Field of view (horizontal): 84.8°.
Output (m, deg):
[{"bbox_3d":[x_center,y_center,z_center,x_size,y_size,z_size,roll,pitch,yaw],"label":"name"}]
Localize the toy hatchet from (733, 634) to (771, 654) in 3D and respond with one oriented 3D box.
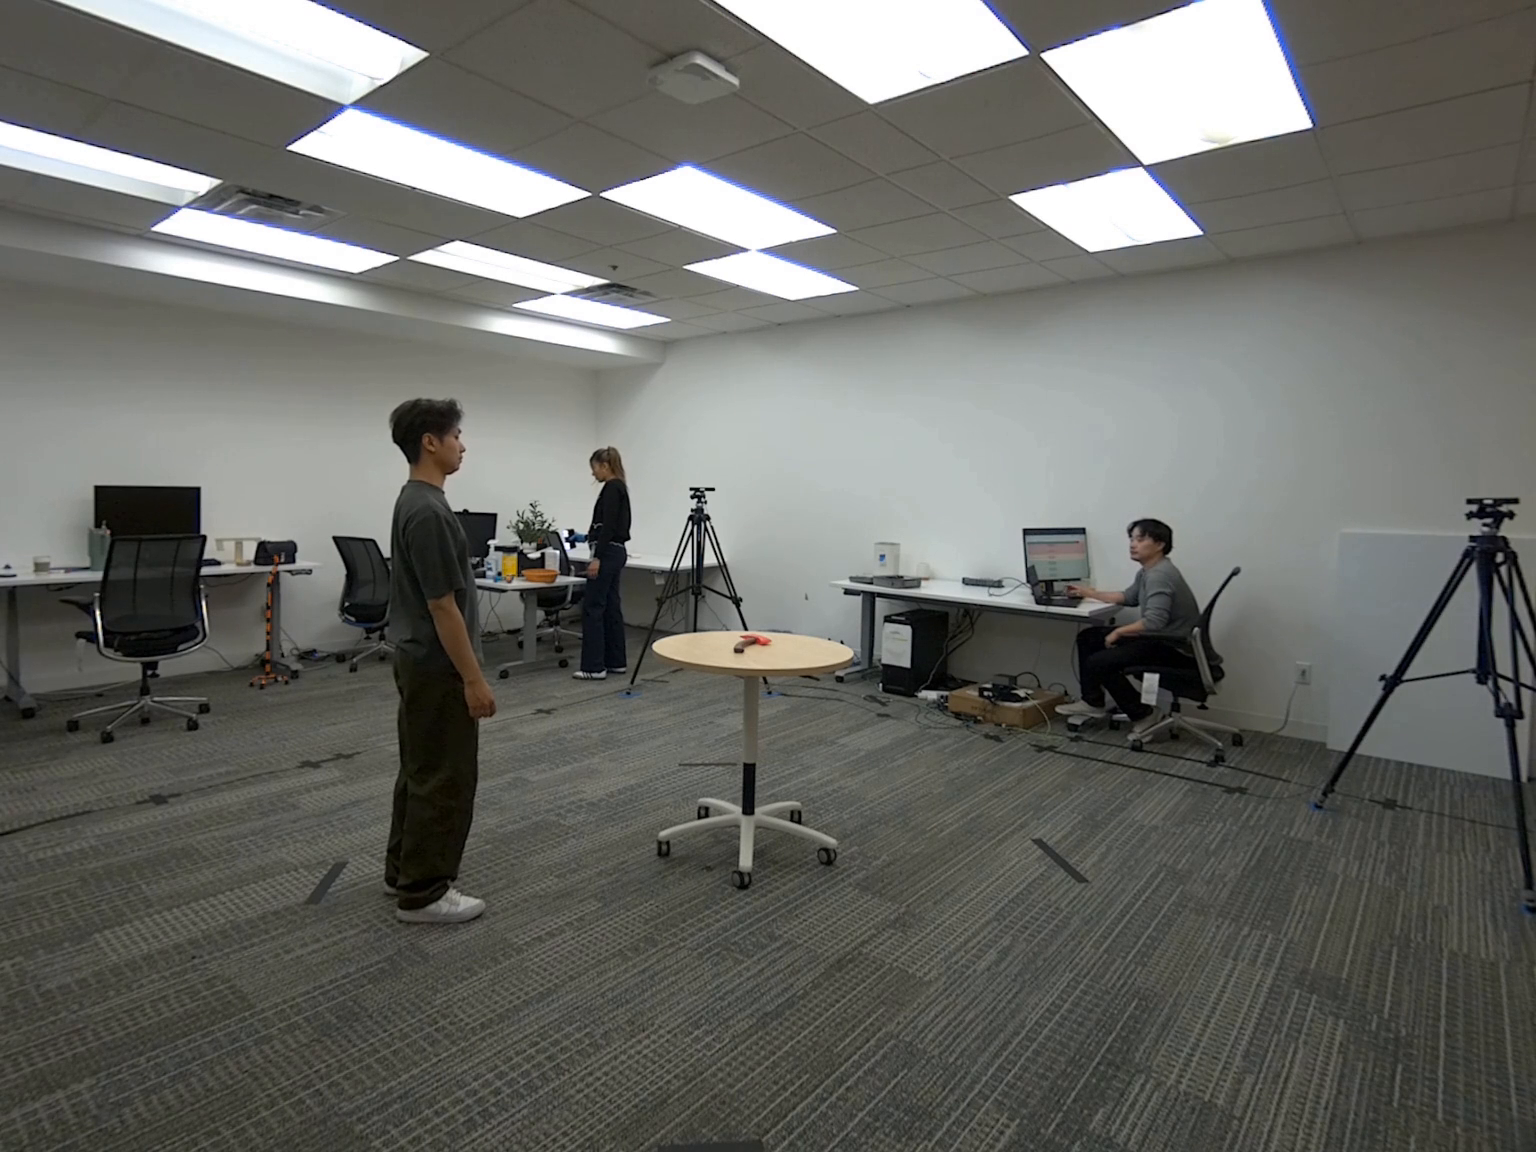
[{"bbox_3d":[-0.067,0.260,3.257,0.132,0.029,0.270,6,8,3],"label":"toy hatchet"}]
